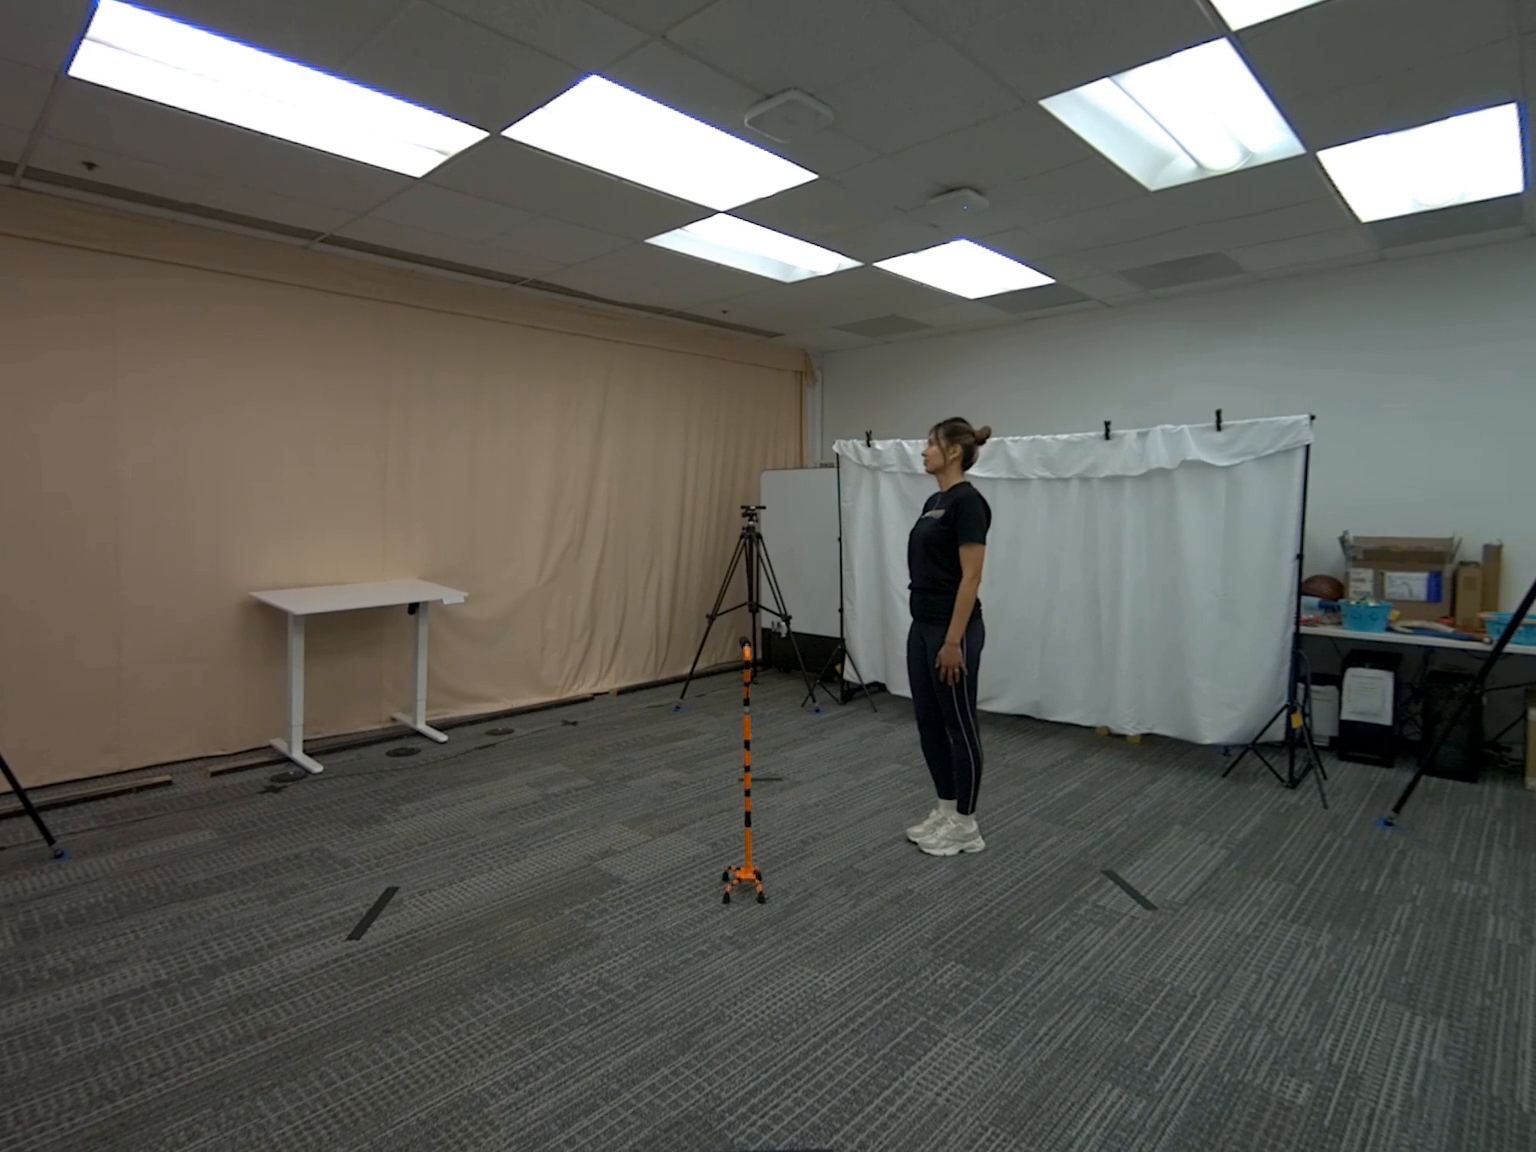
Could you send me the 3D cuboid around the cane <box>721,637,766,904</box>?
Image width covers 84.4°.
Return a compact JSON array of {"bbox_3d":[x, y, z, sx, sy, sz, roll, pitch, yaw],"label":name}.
[{"bbox_3d":[-0.090,0.688,3.020,0.151,0.906,0.207,-1,3,-4],"label":"cane"}]
